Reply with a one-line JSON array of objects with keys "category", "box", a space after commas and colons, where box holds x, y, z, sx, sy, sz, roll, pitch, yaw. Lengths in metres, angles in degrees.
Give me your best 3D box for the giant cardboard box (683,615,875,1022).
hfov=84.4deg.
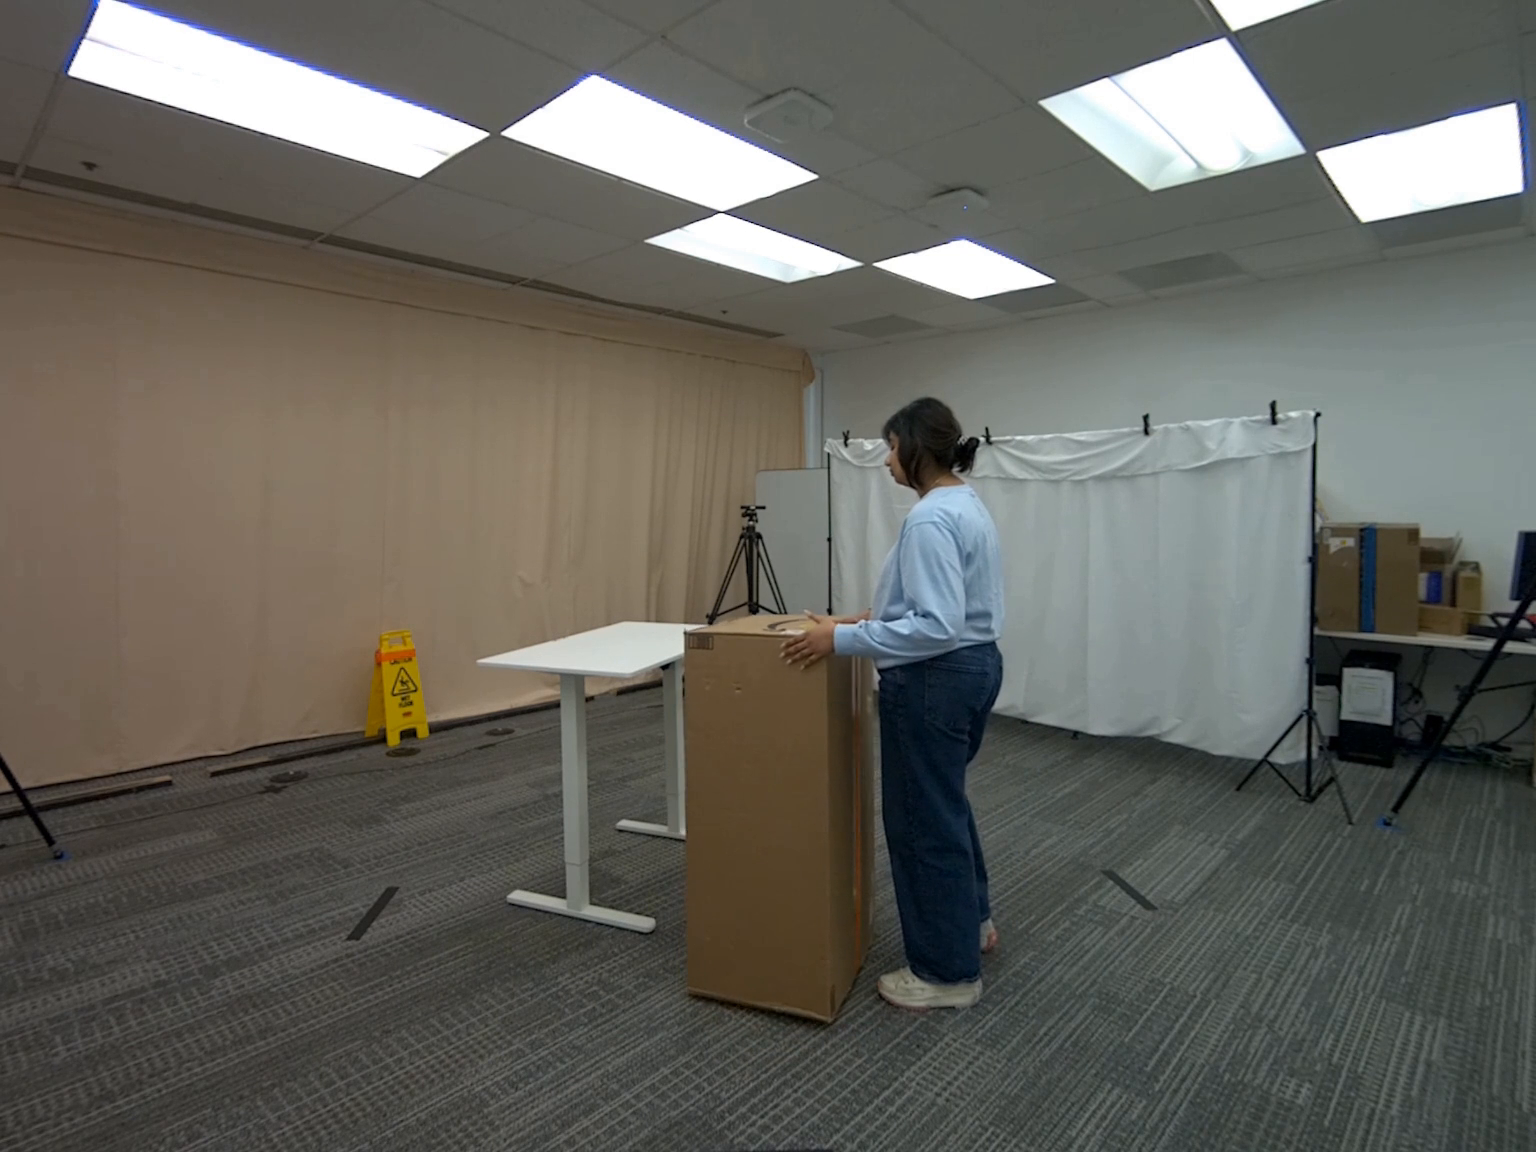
[{"category": "giant cardboard box", "box": [0.059, 0.659, 2.563, 0.436, 1.026, 0.565, 0, 0, 21]}]
